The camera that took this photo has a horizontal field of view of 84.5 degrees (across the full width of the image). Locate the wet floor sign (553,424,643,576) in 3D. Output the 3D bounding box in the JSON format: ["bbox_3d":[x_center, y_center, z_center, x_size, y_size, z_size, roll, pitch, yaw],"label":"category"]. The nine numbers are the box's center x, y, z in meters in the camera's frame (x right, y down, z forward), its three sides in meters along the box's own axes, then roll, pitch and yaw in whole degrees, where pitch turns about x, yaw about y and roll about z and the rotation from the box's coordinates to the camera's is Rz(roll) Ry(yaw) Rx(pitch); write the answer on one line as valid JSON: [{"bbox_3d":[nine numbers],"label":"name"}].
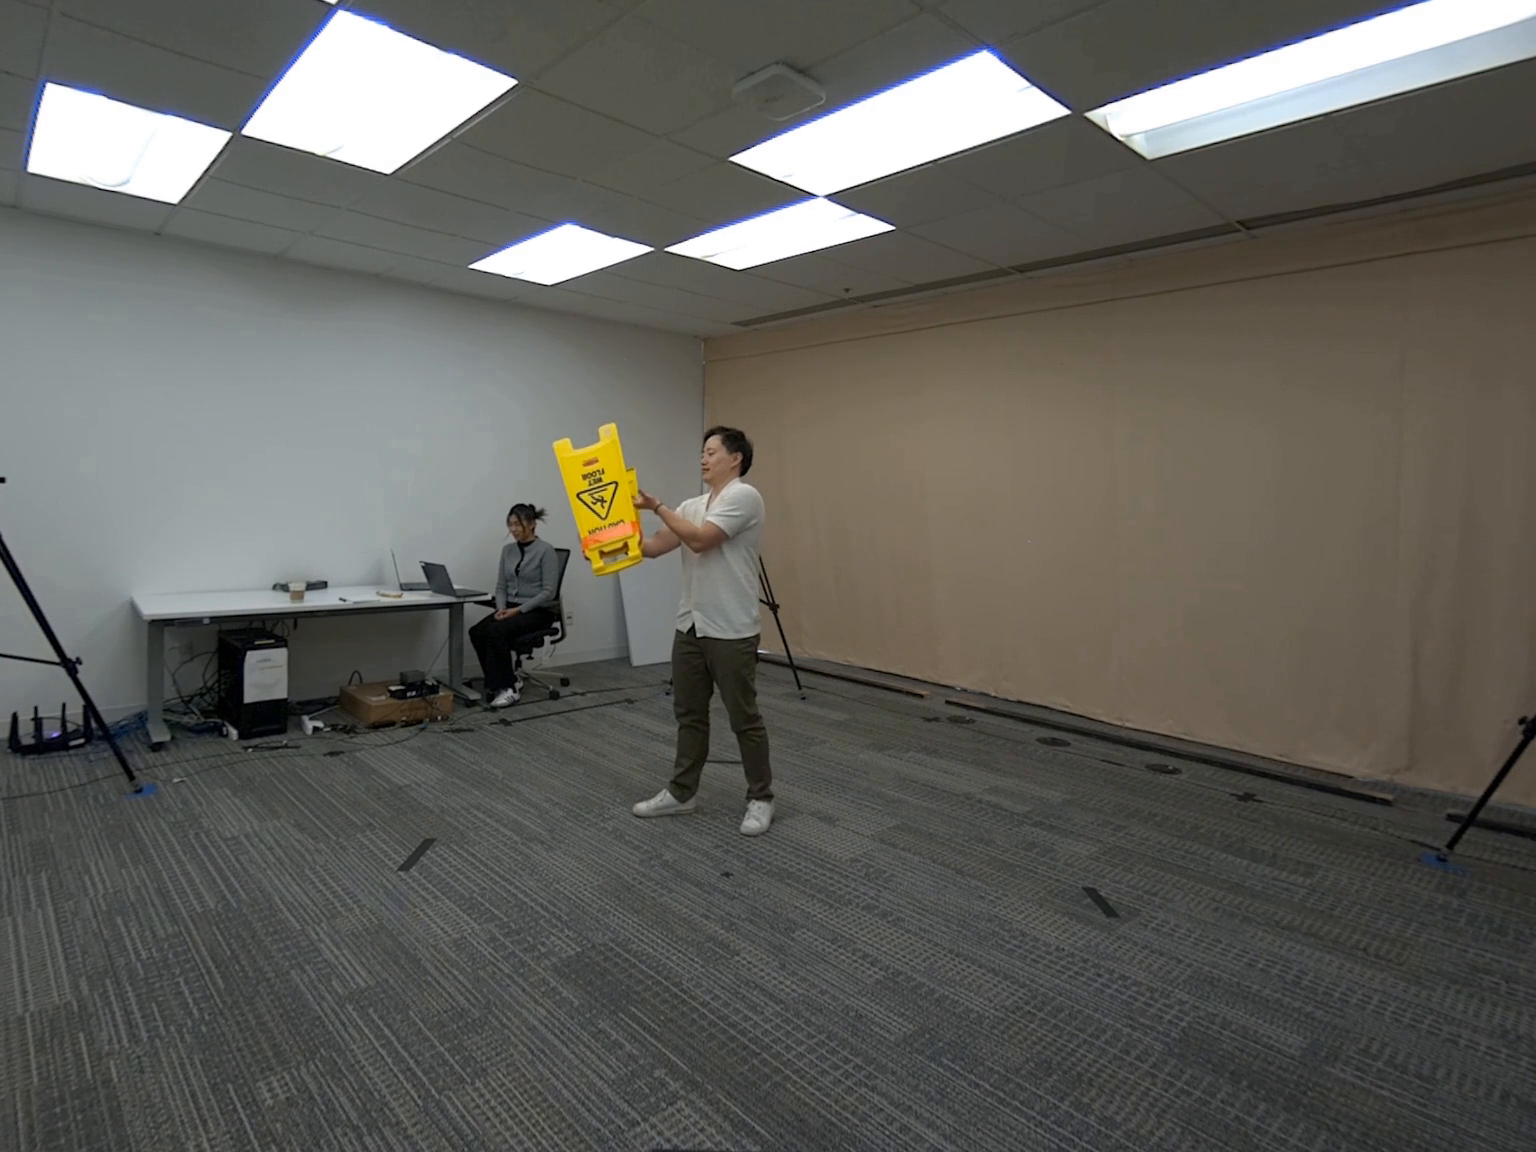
[{"bbox_3d":[-0.675,-0.272,3.465,0.282,0.664,0.282,-18,-37,0],"label":"wet floor sign"}]
